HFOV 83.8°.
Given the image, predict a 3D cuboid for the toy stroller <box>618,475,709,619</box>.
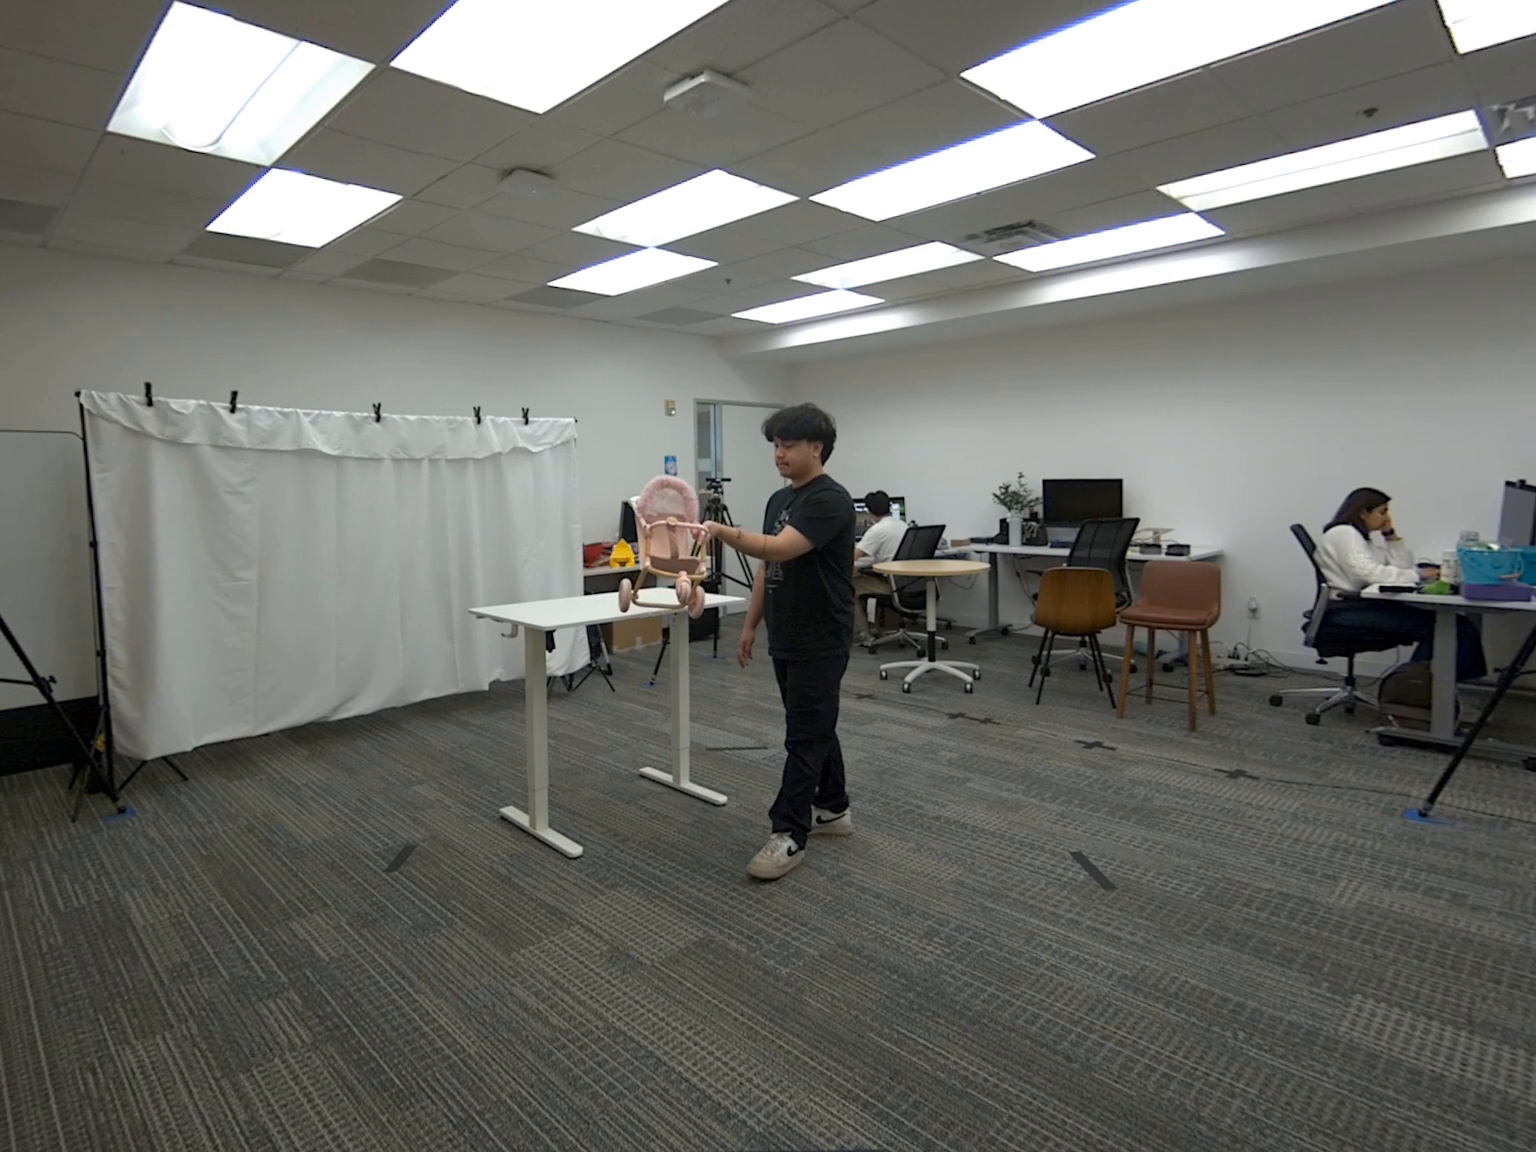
[{"bbox_3d":[-0.327,-0.106,2.822,0.277,0.548,0.339,5,-28,-16],"label":"toy stroller"}]
